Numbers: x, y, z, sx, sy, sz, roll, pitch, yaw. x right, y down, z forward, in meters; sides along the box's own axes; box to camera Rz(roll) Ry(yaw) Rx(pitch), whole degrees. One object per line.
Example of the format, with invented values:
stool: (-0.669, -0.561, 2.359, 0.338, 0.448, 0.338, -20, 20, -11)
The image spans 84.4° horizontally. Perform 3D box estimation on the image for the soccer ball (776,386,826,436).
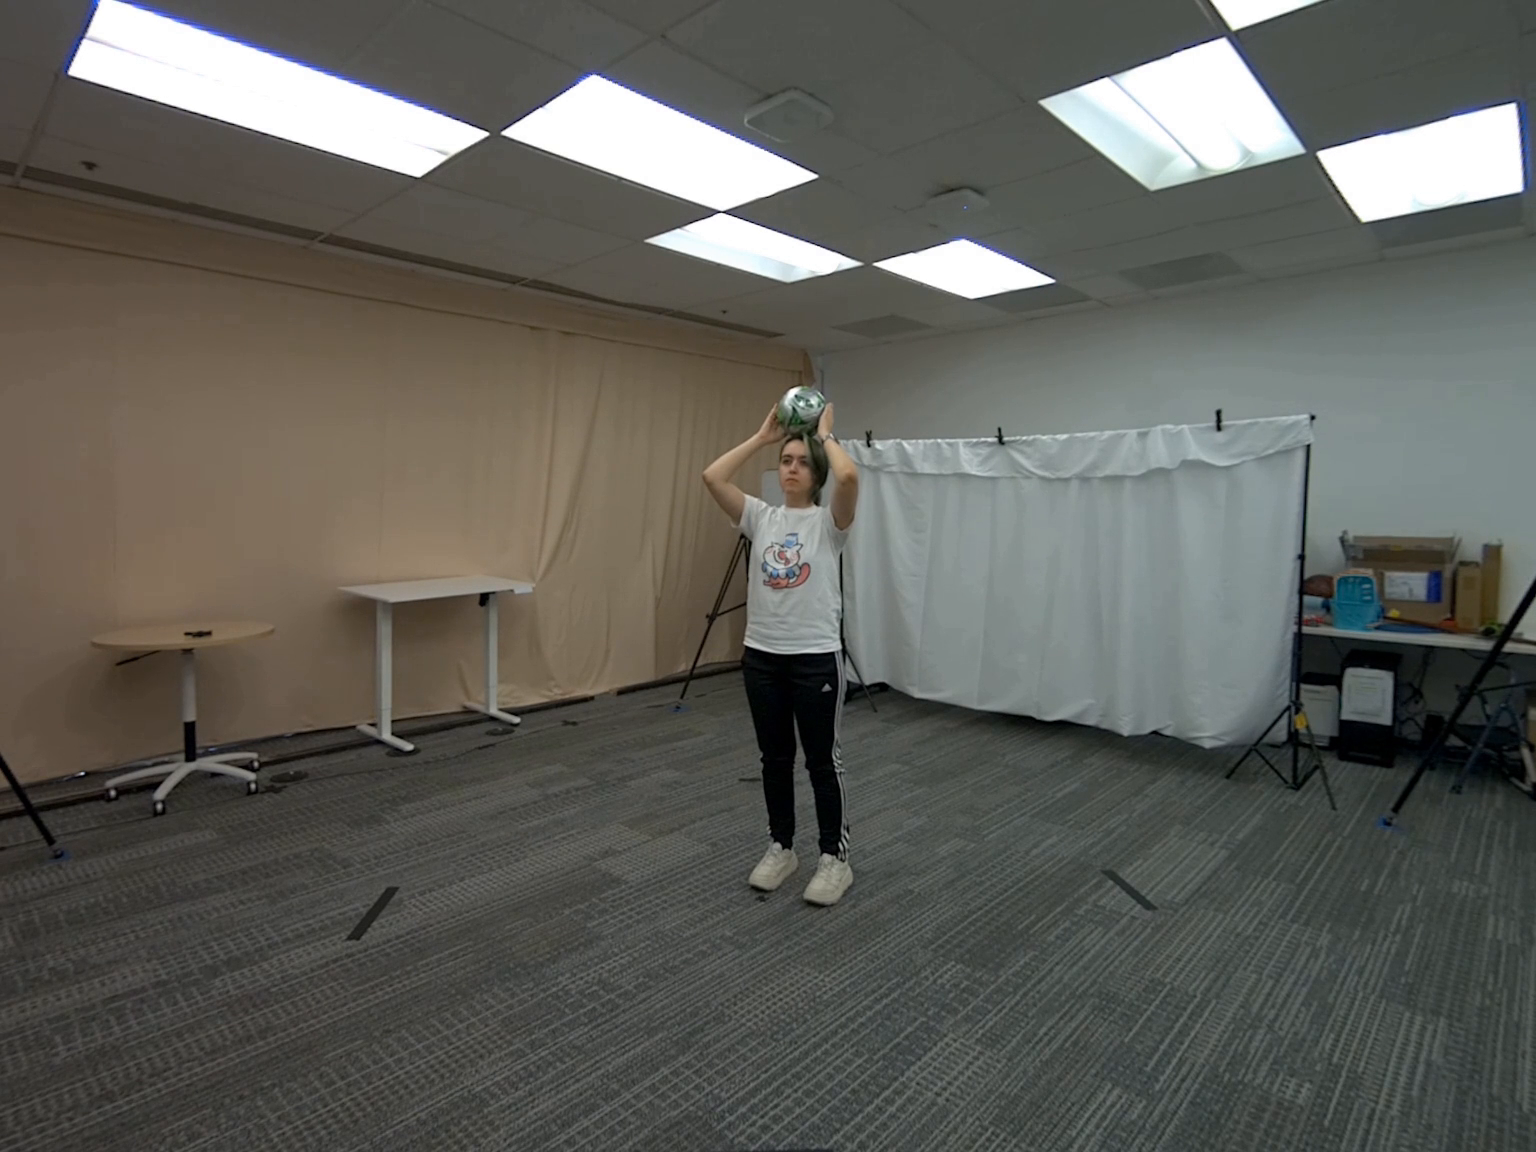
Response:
soccer ball: (0.129, -0.588, 3.052, 0.187, 0.187, 0.188, 0, 4, -2)
